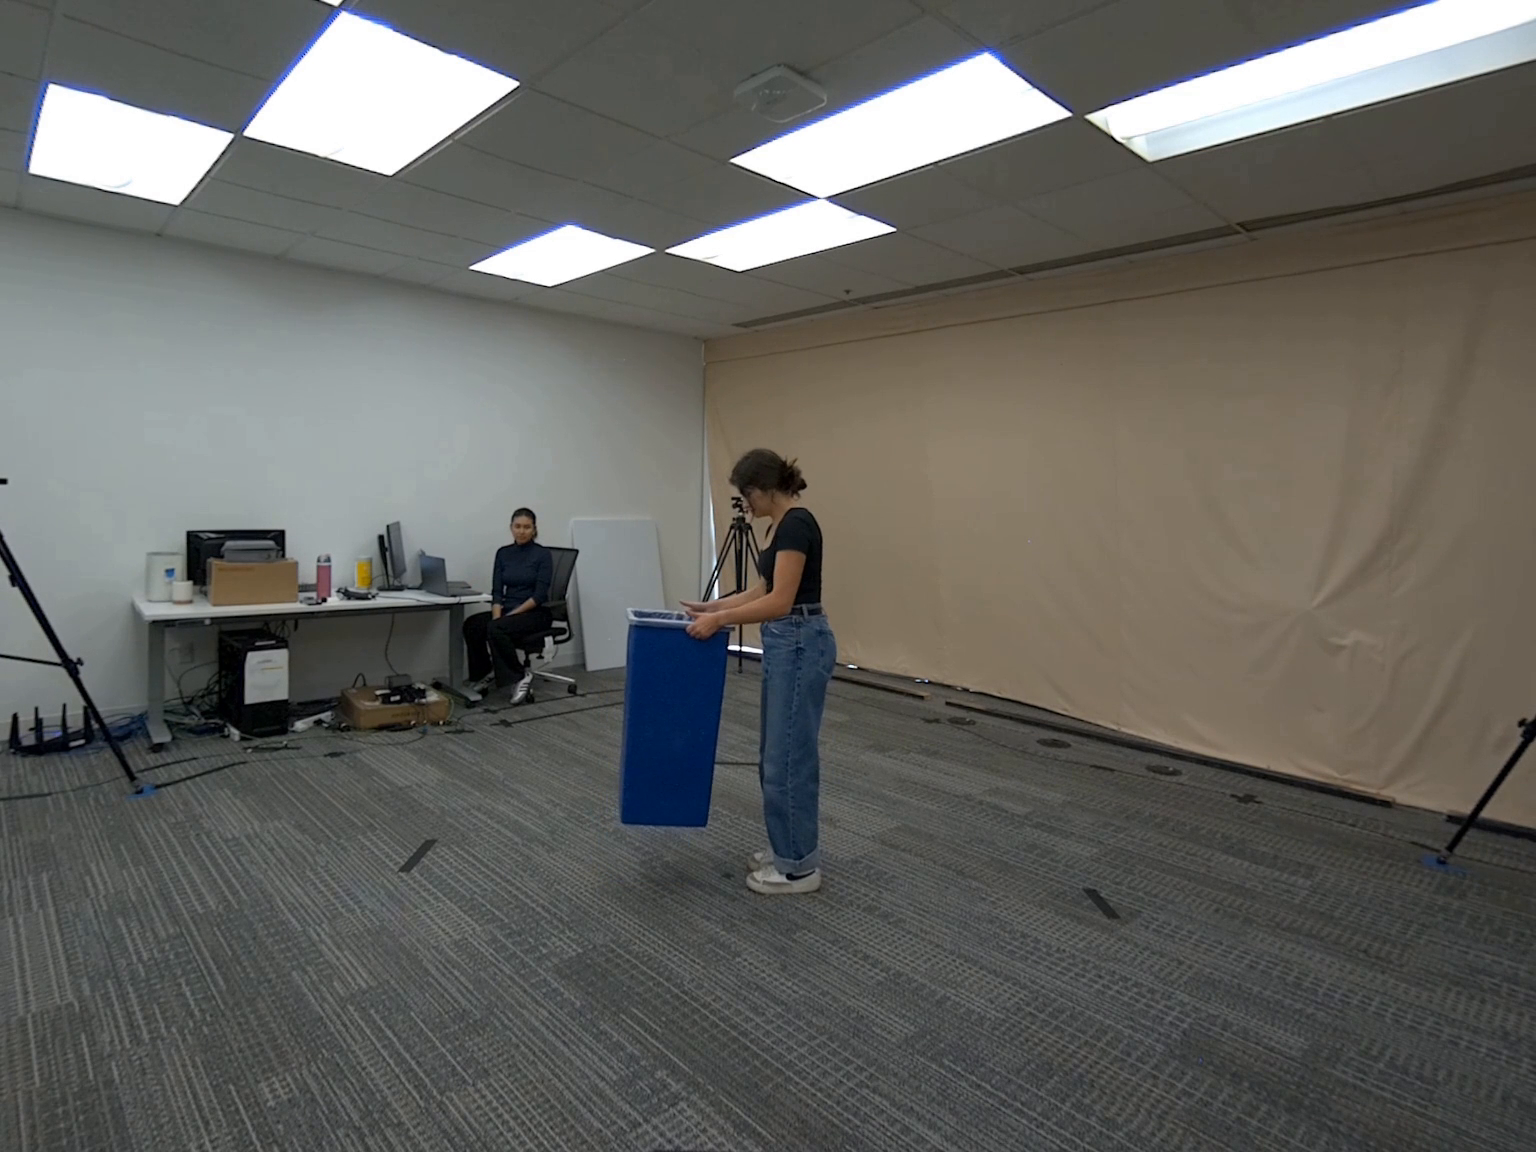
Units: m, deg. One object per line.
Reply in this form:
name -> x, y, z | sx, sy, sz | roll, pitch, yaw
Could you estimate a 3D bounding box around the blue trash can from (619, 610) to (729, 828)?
blue trash can -> -0.363, 0.512, 3.046 | 0.375, 0.714, 0.377 | 4, -1, -11
